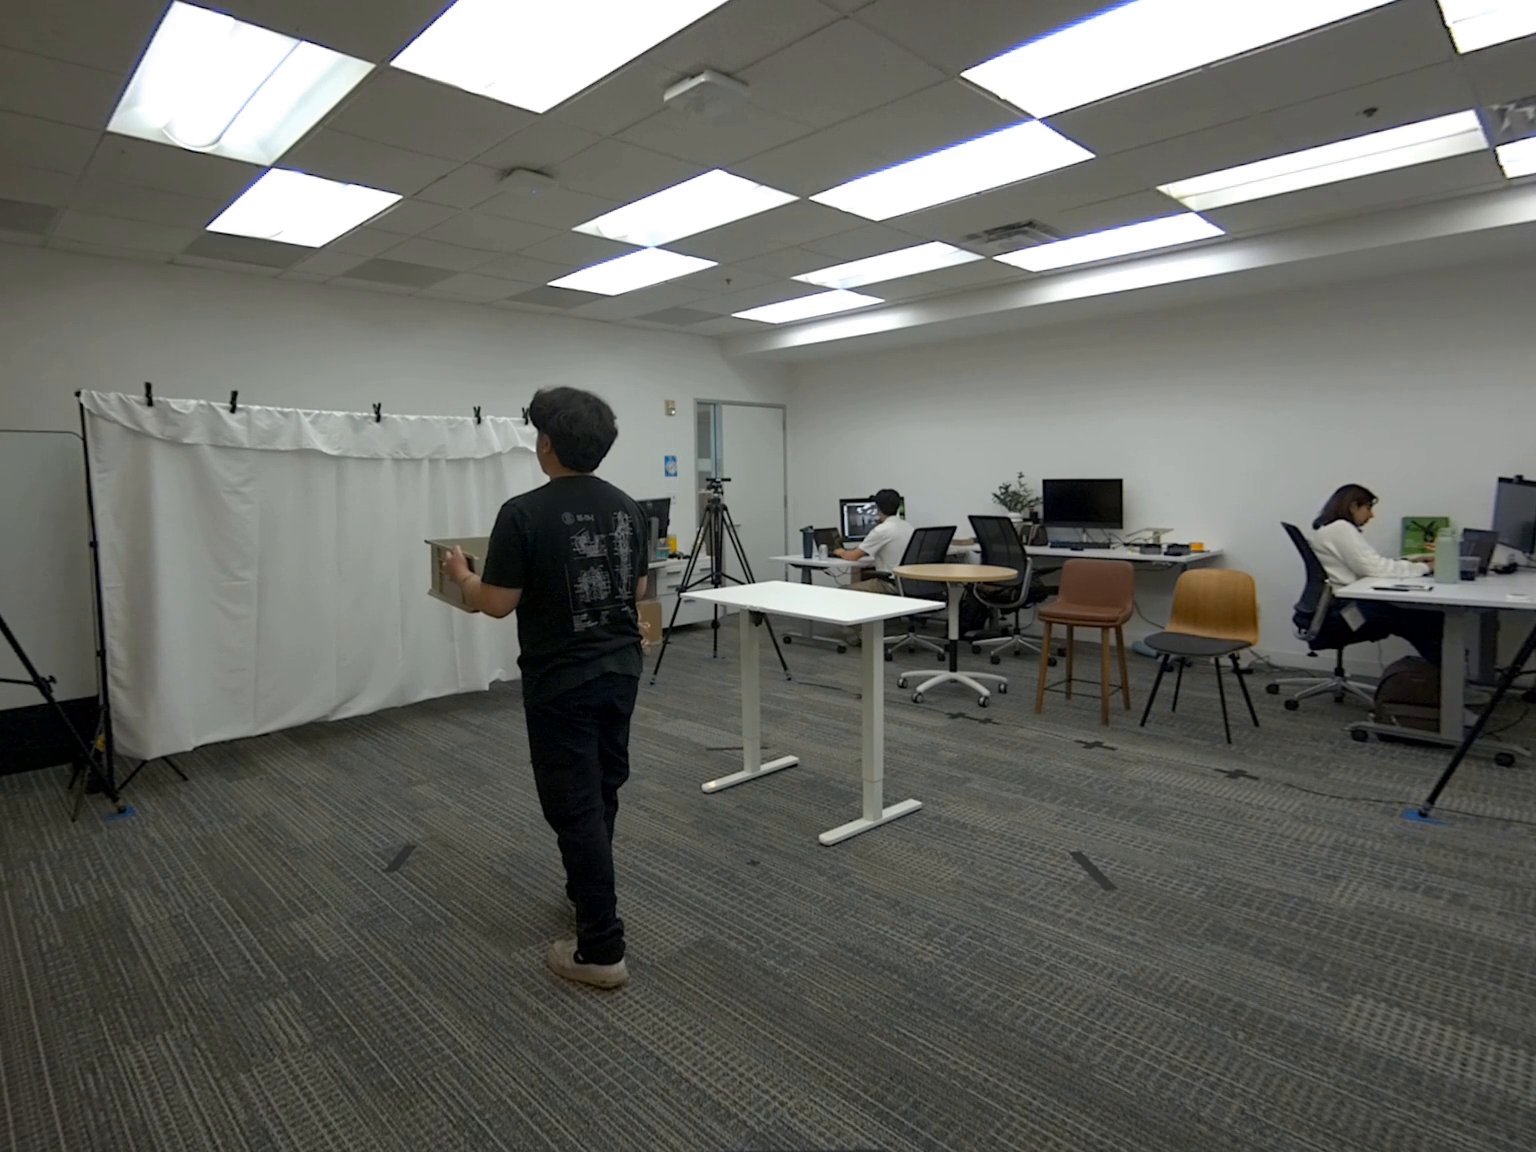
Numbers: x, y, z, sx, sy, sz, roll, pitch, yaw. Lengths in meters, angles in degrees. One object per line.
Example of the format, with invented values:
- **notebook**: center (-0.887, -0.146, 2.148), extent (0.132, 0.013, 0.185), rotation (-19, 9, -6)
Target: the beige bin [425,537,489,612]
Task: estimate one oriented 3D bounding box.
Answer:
- **beige bin**: center (-0.842, -0.019, 2.787), extent (0.411, 0.187, 0.390), rotation (-8, 14, -44)
